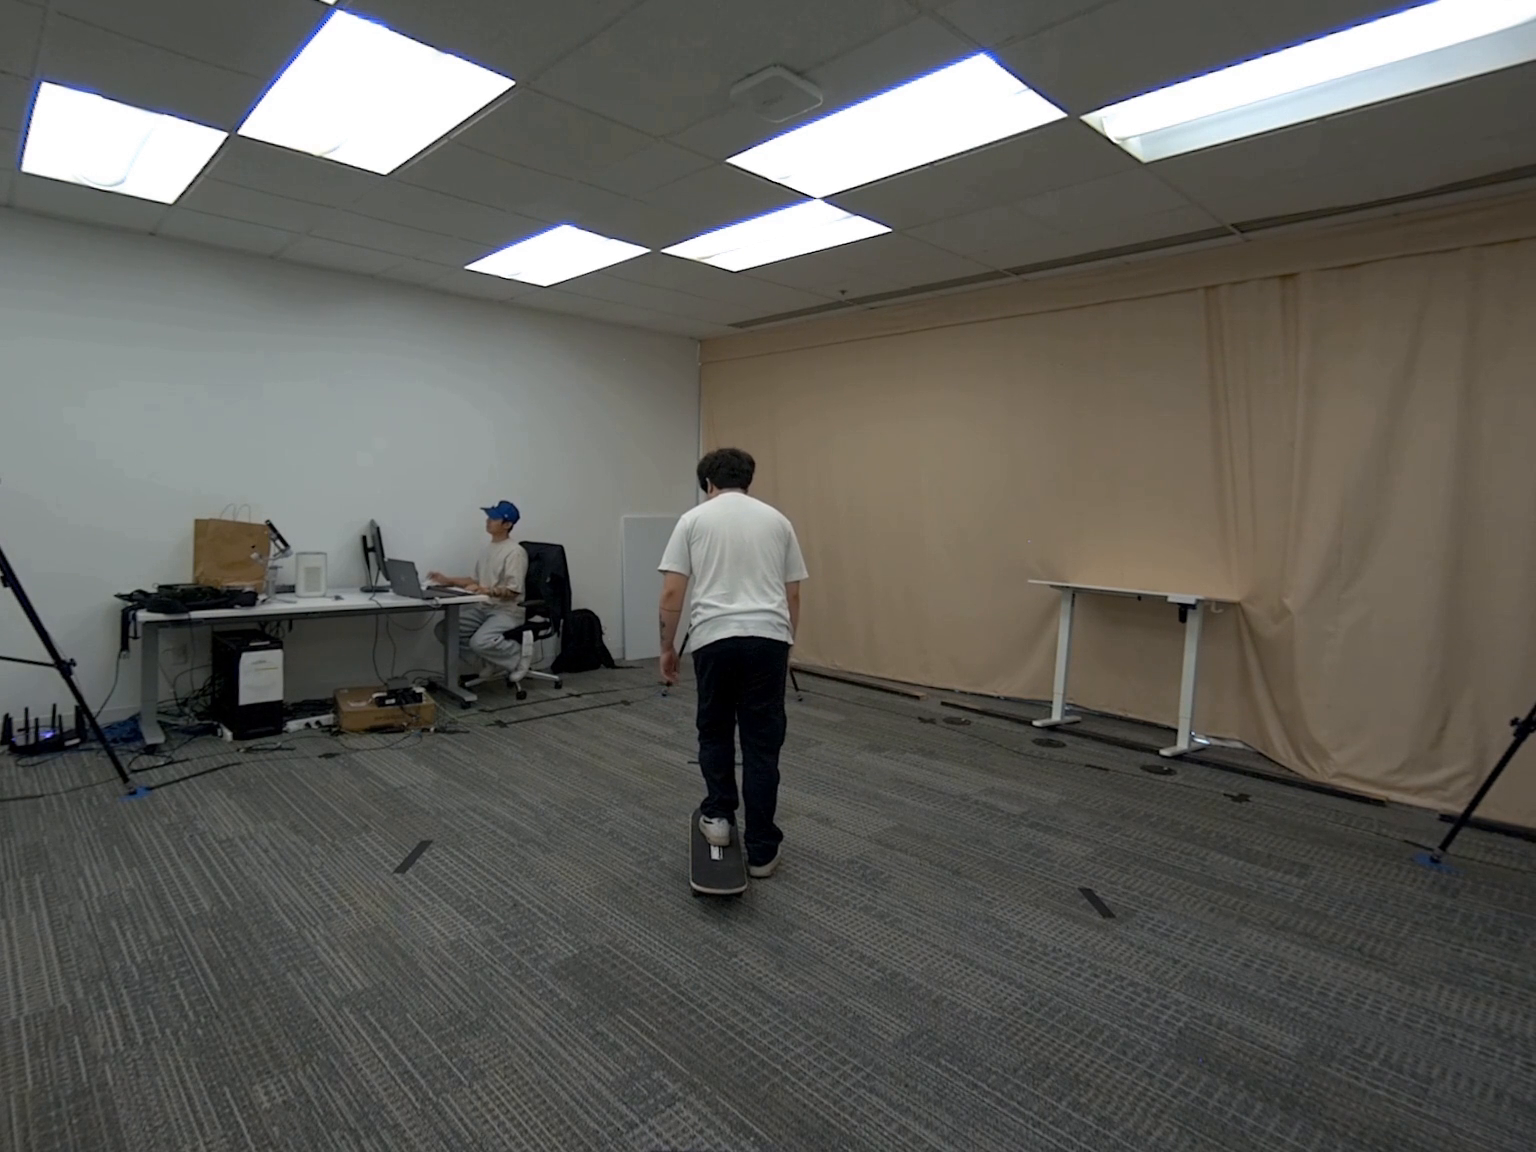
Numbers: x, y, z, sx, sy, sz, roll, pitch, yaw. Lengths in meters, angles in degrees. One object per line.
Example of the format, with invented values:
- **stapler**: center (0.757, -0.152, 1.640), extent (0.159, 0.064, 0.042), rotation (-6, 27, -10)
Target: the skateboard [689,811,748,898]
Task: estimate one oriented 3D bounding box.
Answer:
- **skateboard**: center (-0.198, 1.043, 3.147), extent (0.193, 0.110, 0.790), rotation (1, 6, -5)
